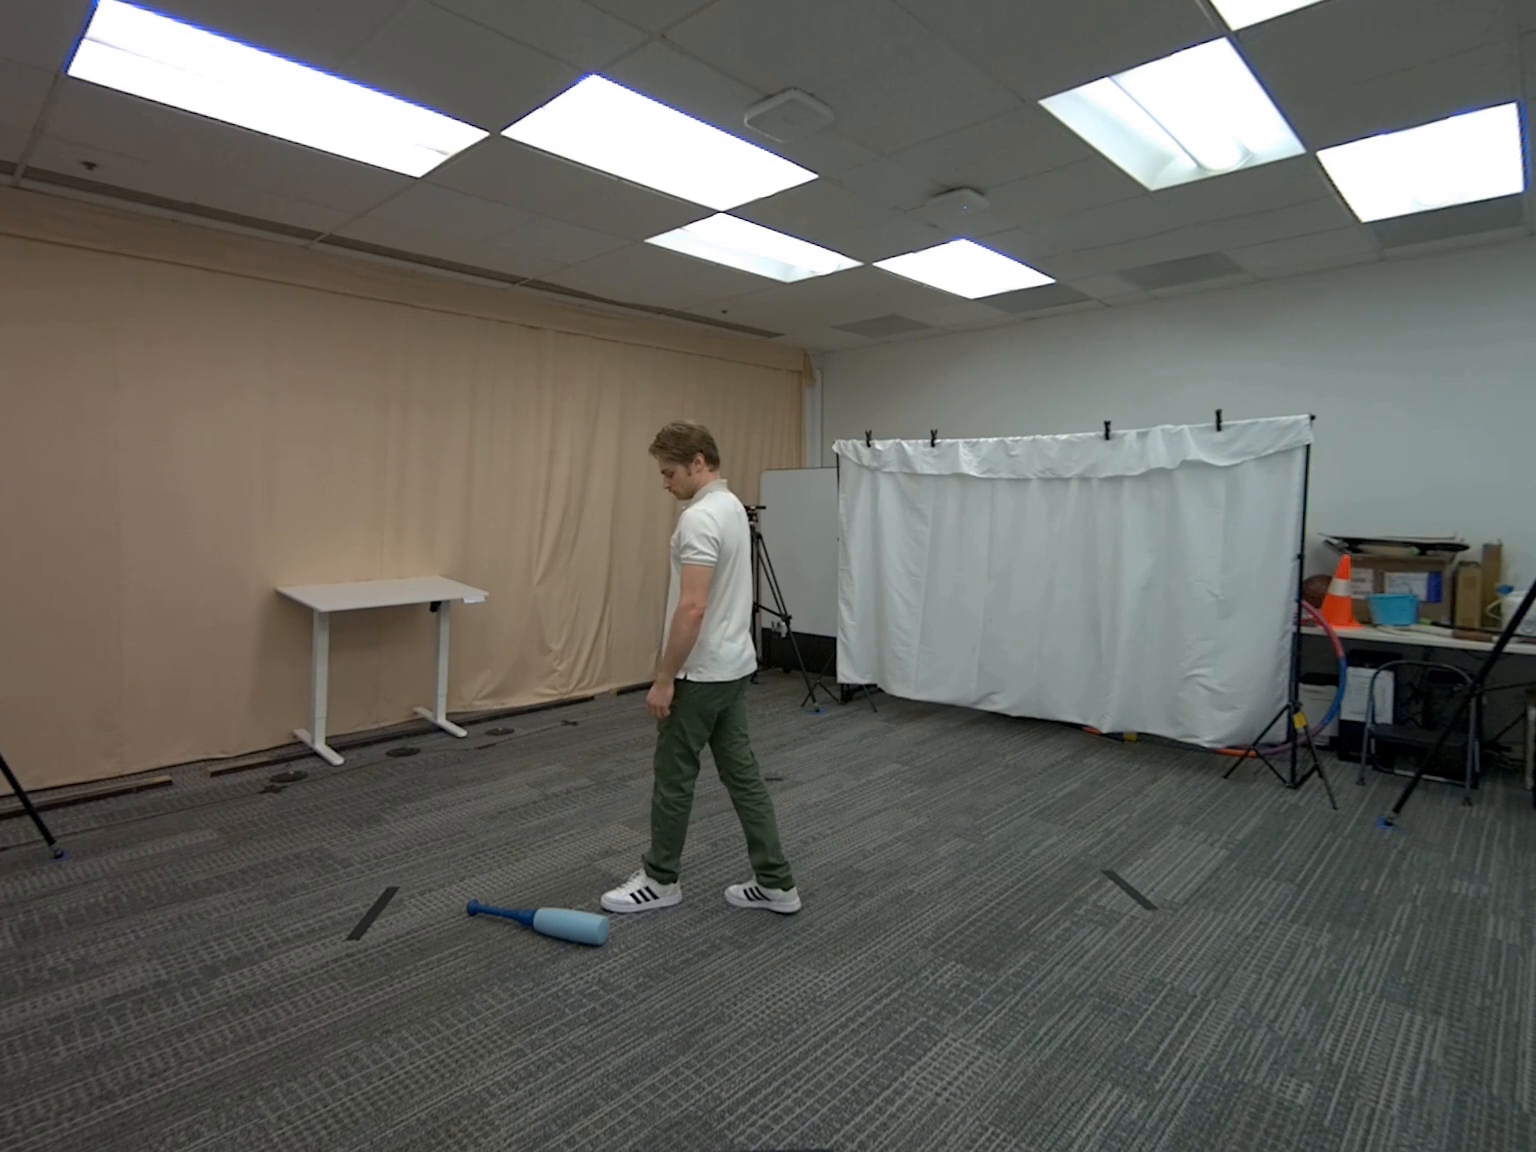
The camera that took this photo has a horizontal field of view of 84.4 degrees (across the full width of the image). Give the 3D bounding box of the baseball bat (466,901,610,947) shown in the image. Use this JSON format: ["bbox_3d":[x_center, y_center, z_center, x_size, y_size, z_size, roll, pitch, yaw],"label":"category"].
[{"bbox_3d":[-0.773,1.135,2.769,0.555,0.089,0.087,-2,3,23],"label":"baseball bat"}]
